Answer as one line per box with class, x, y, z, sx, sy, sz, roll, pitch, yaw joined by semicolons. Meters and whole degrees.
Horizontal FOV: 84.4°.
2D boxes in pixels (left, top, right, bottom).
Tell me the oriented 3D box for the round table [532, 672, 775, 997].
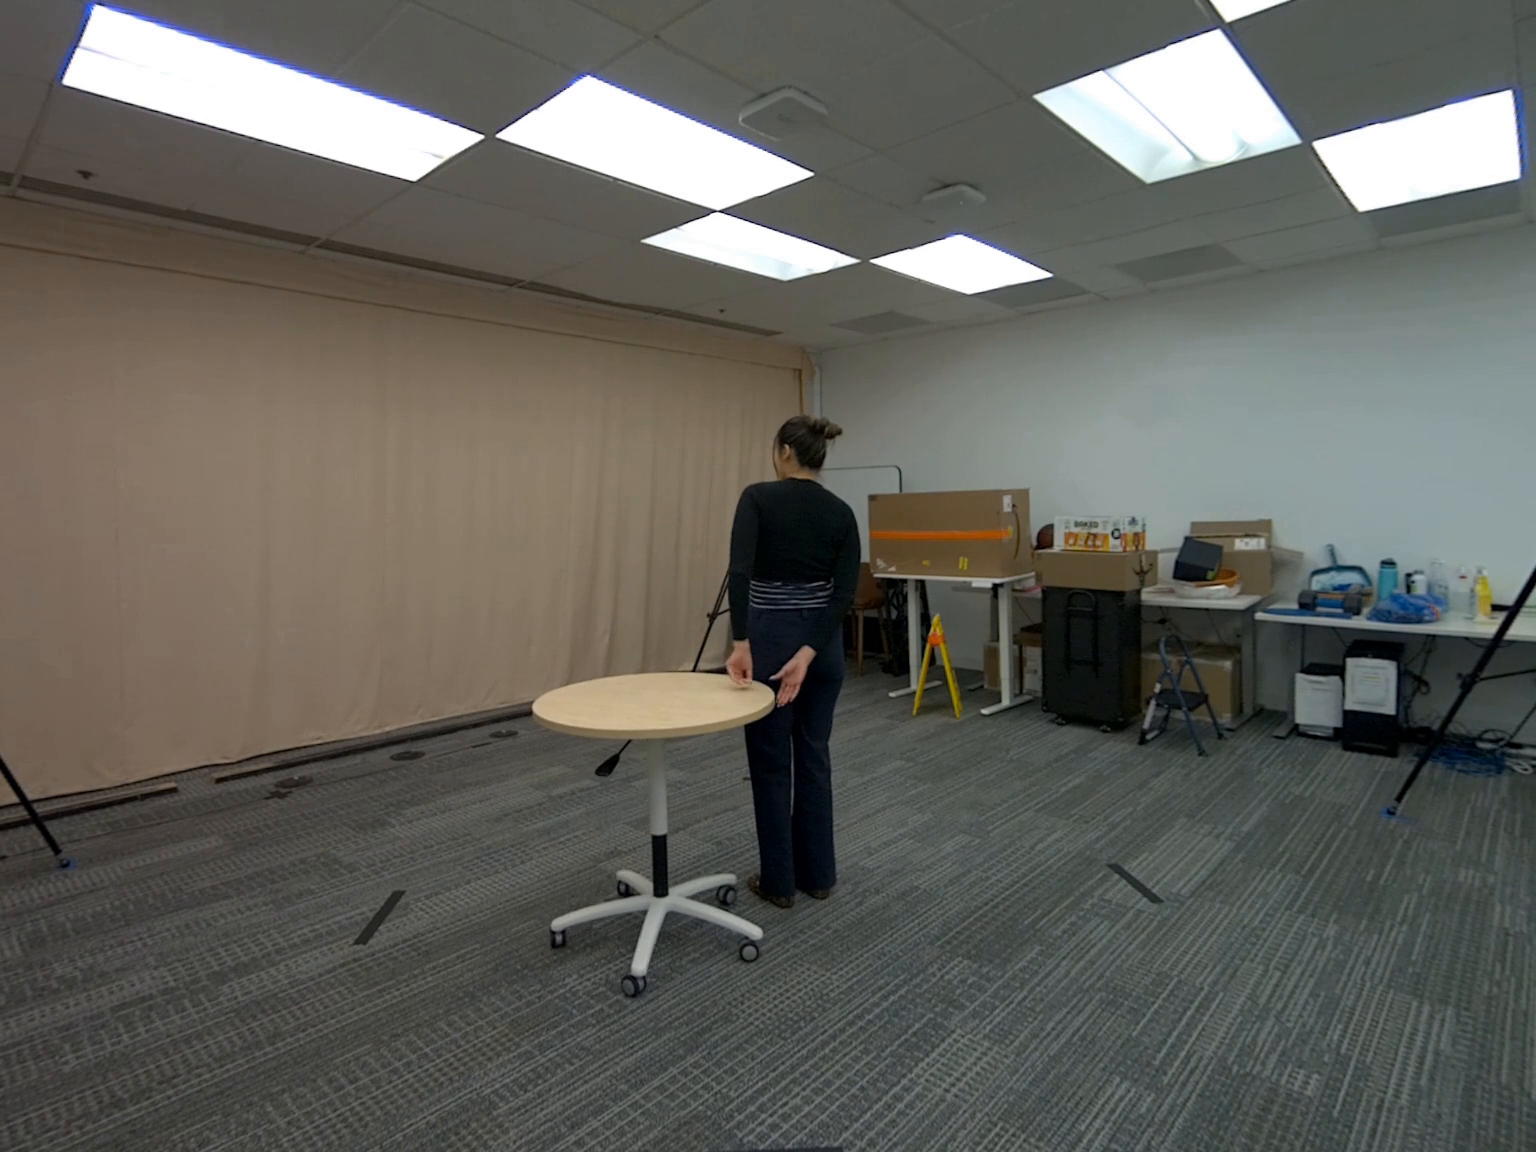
round table;-0.350;0.783;2.704;0.763;0.792;0.767;-1;4;-2
